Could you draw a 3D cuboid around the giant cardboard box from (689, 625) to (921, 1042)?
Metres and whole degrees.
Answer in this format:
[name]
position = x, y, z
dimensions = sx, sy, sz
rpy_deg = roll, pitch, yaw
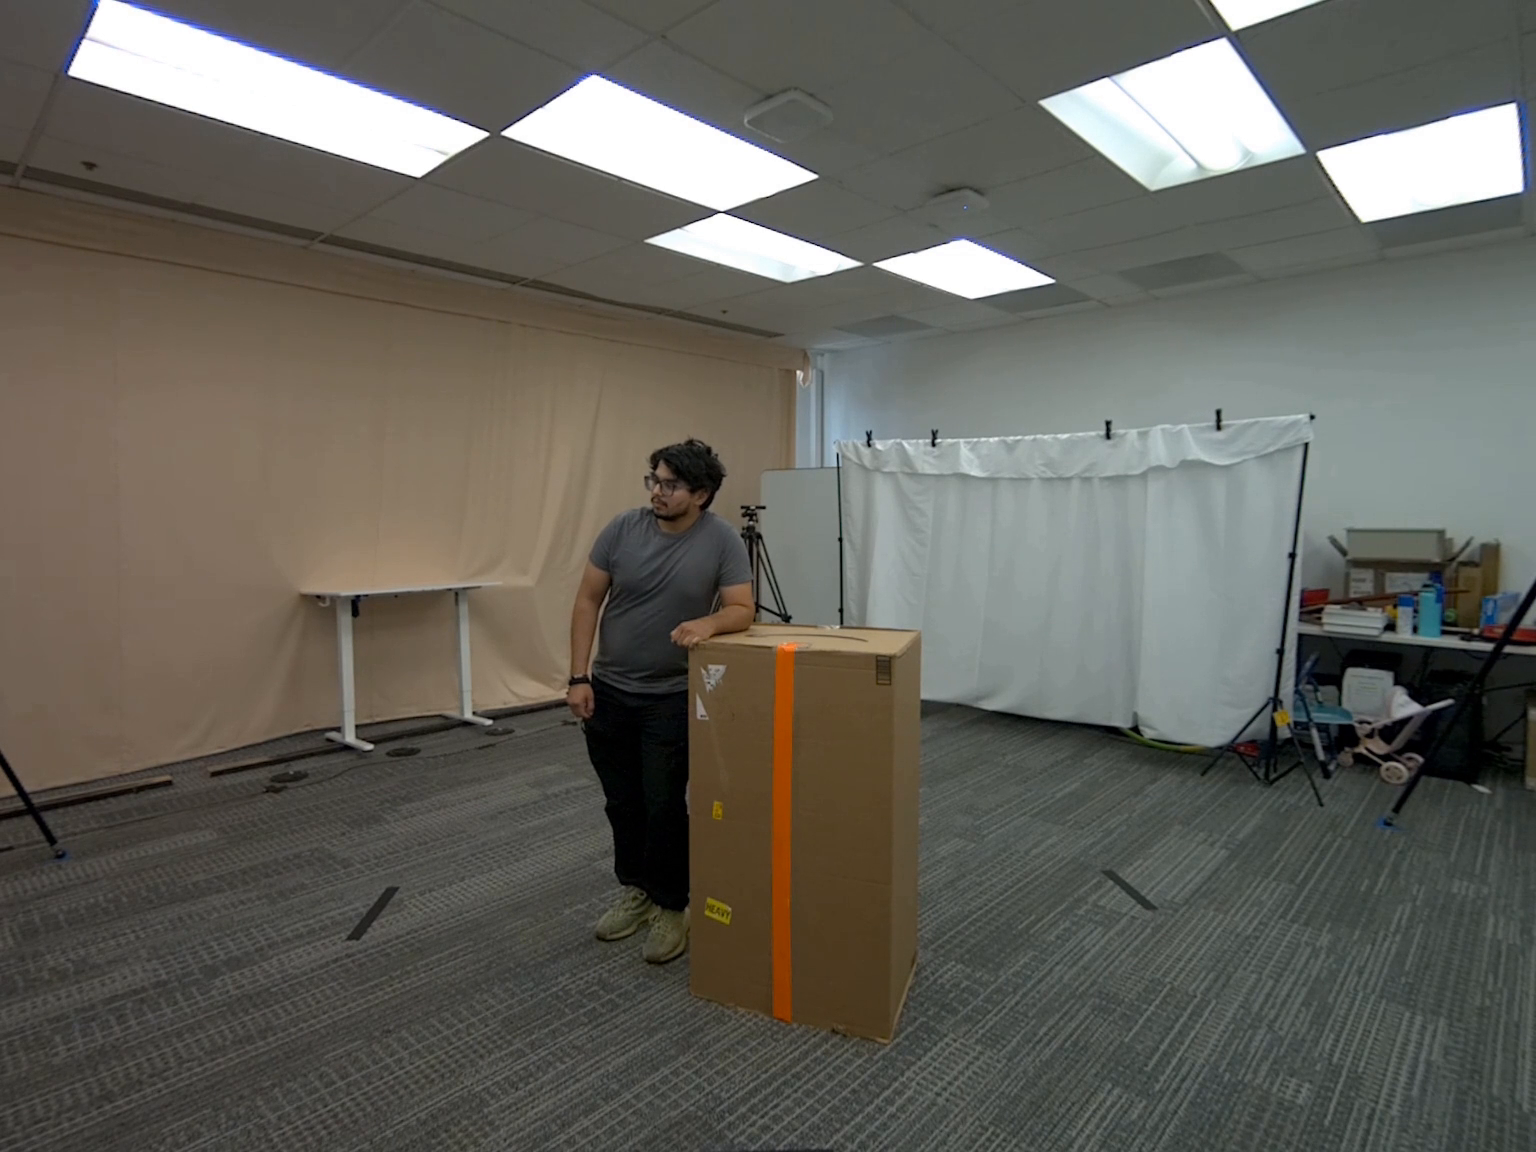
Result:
[giant cardboard box]
position = 0.125, 0.682, 2.441
dimensions = 0.591, 1.024, 0.417
rpy_deg = 2, 3, 23
